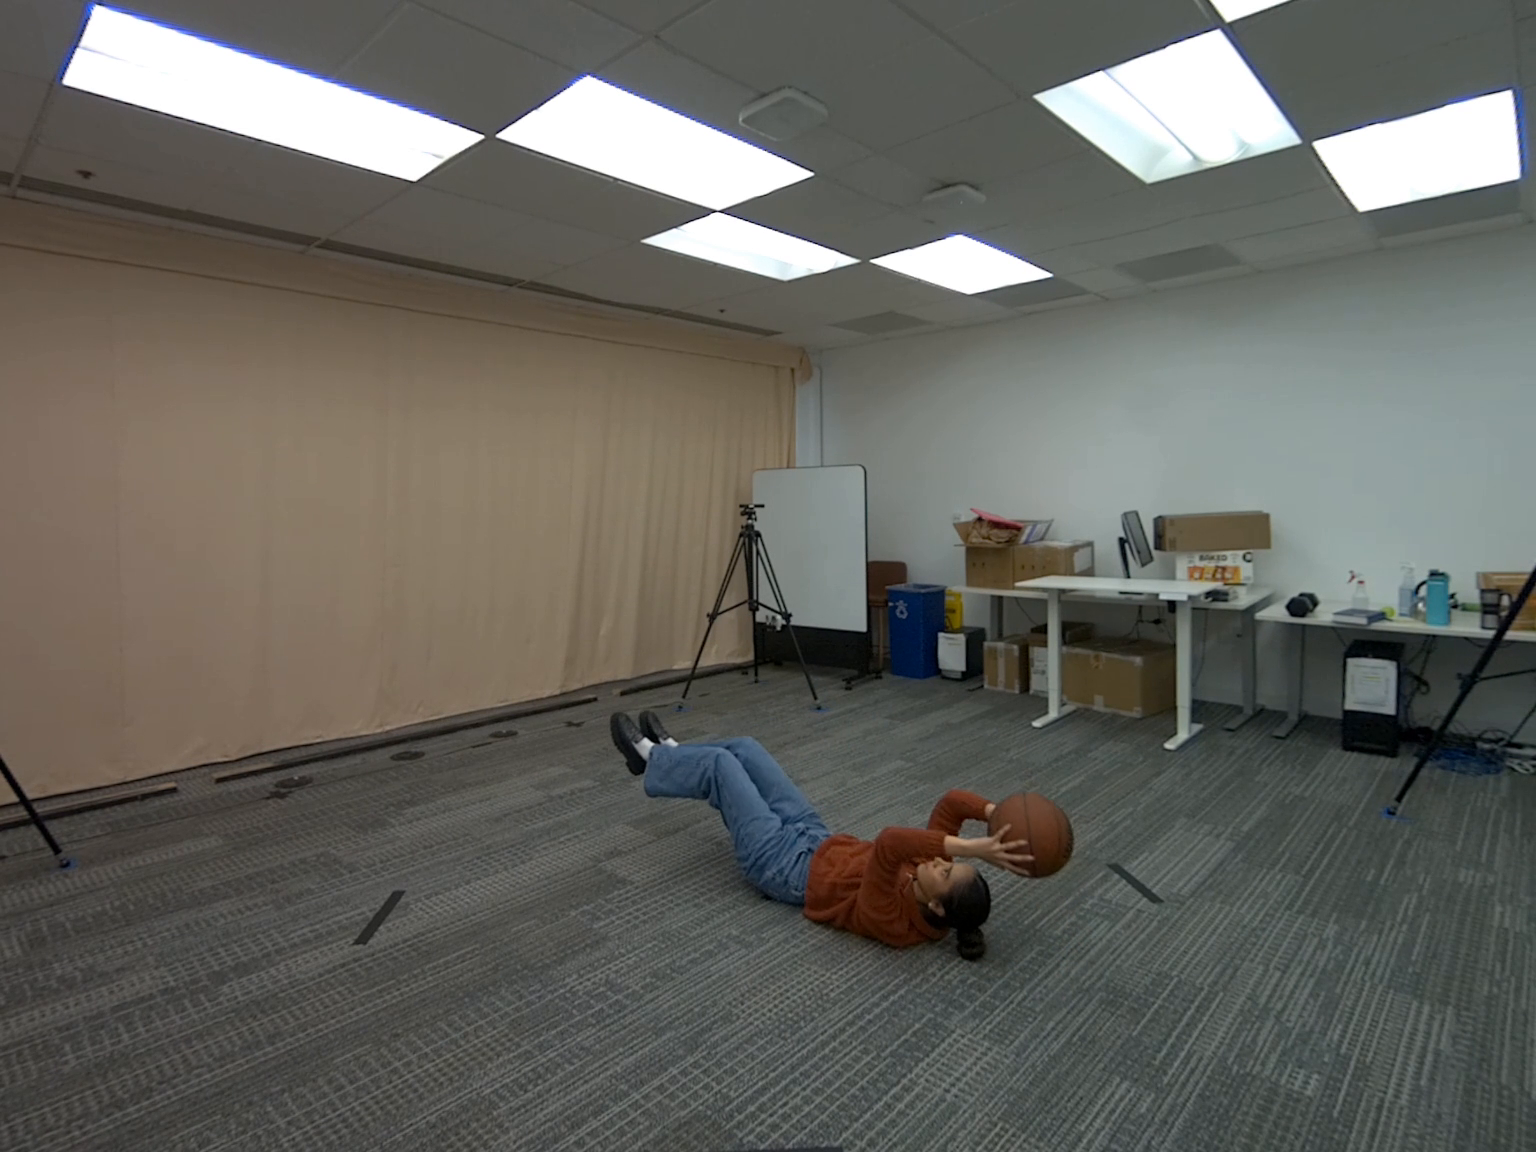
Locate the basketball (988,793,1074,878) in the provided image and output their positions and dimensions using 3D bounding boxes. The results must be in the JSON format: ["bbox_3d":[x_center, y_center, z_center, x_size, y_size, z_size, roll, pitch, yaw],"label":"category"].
[{"bbox_3d":[0.765,0.747,2.441,0.235,0.235,0.237,2,5,-2],"label":"basketball"}]
